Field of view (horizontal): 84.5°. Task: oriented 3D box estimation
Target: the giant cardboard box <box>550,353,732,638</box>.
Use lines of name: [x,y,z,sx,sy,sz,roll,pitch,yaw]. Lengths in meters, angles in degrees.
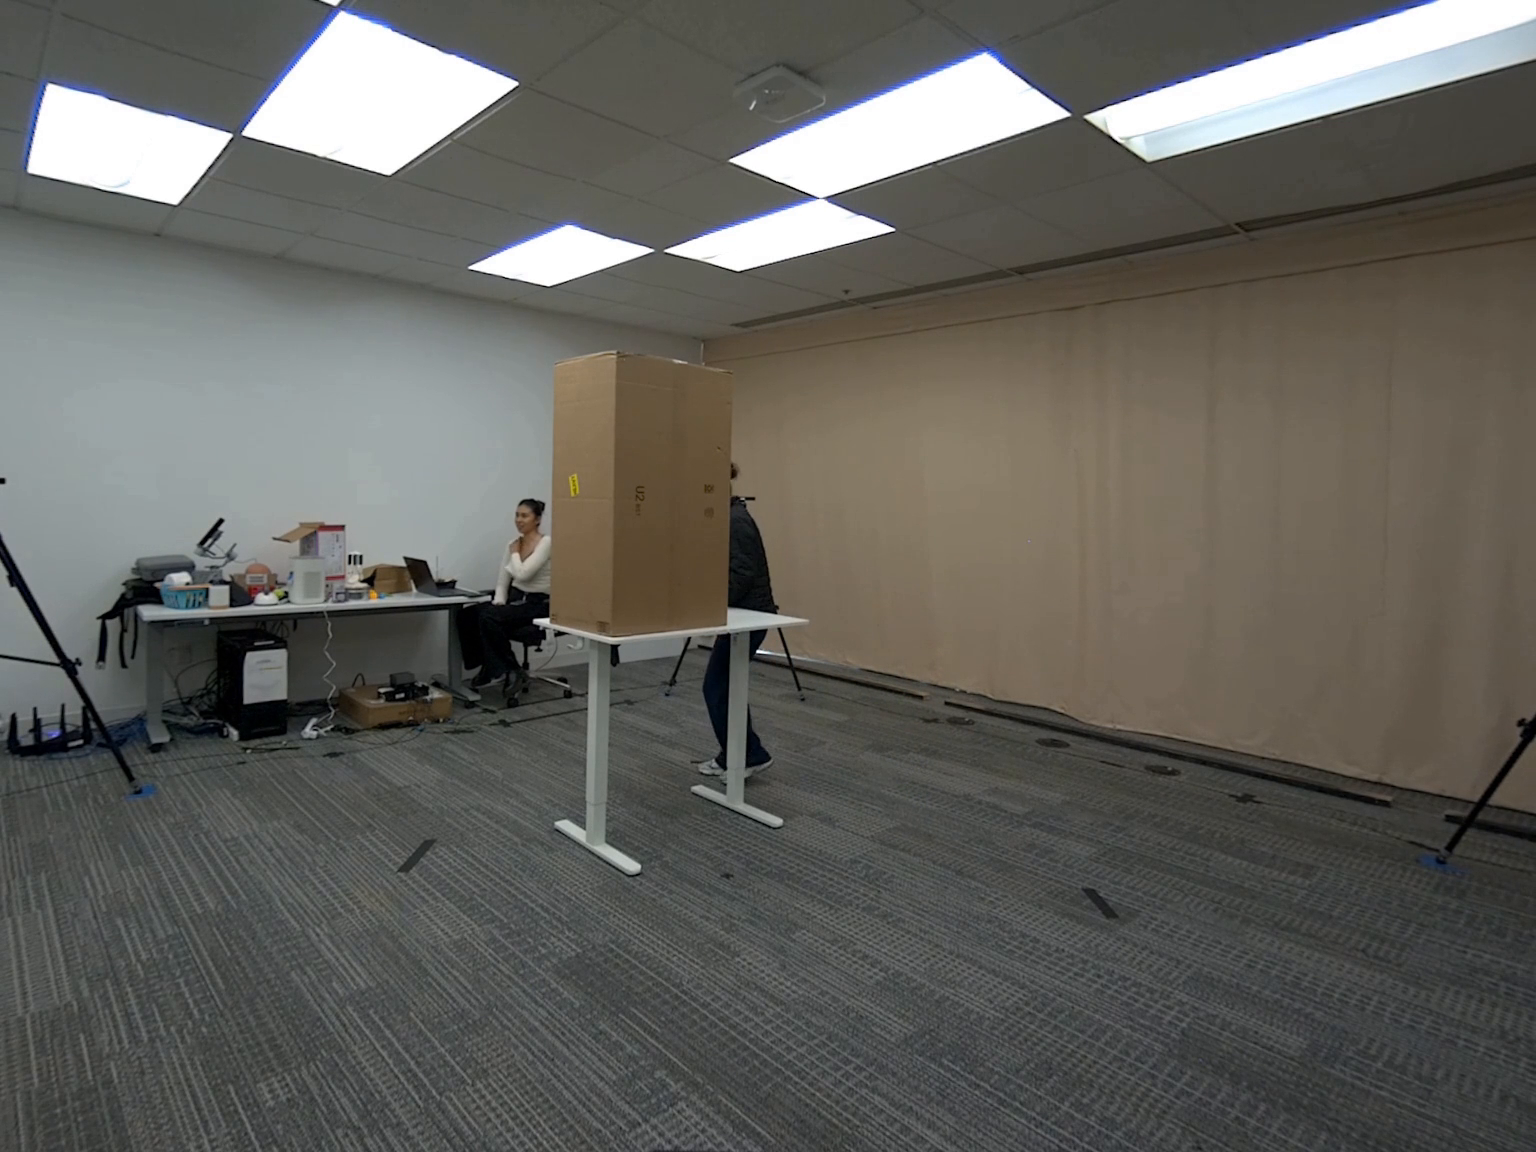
giant cardboard box: [-0.504,-0.312,3.324,0.564,1.024,0.437,-1,4,-45]
